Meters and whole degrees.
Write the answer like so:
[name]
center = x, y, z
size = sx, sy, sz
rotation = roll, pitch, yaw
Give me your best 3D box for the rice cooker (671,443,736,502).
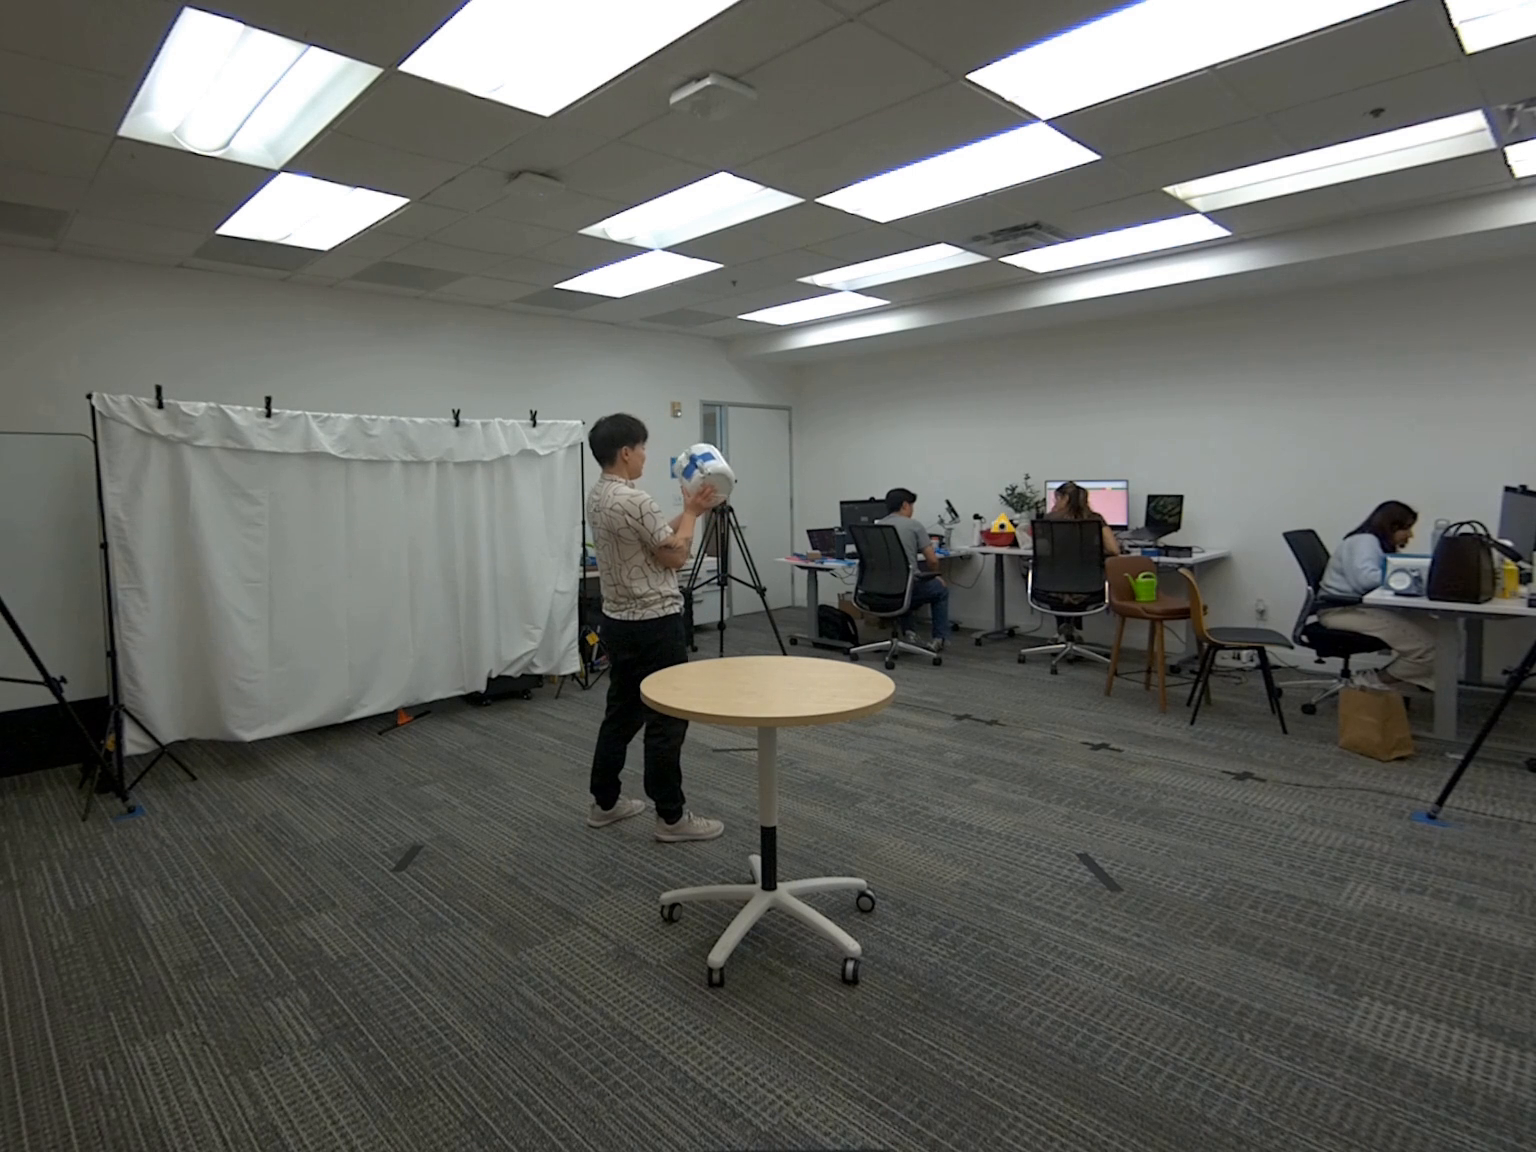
[rice cooker]
center = -0.264, -0.423, 3.565
size = 0.215, 0.215, 0.242
rotation = 1, 39, -30
